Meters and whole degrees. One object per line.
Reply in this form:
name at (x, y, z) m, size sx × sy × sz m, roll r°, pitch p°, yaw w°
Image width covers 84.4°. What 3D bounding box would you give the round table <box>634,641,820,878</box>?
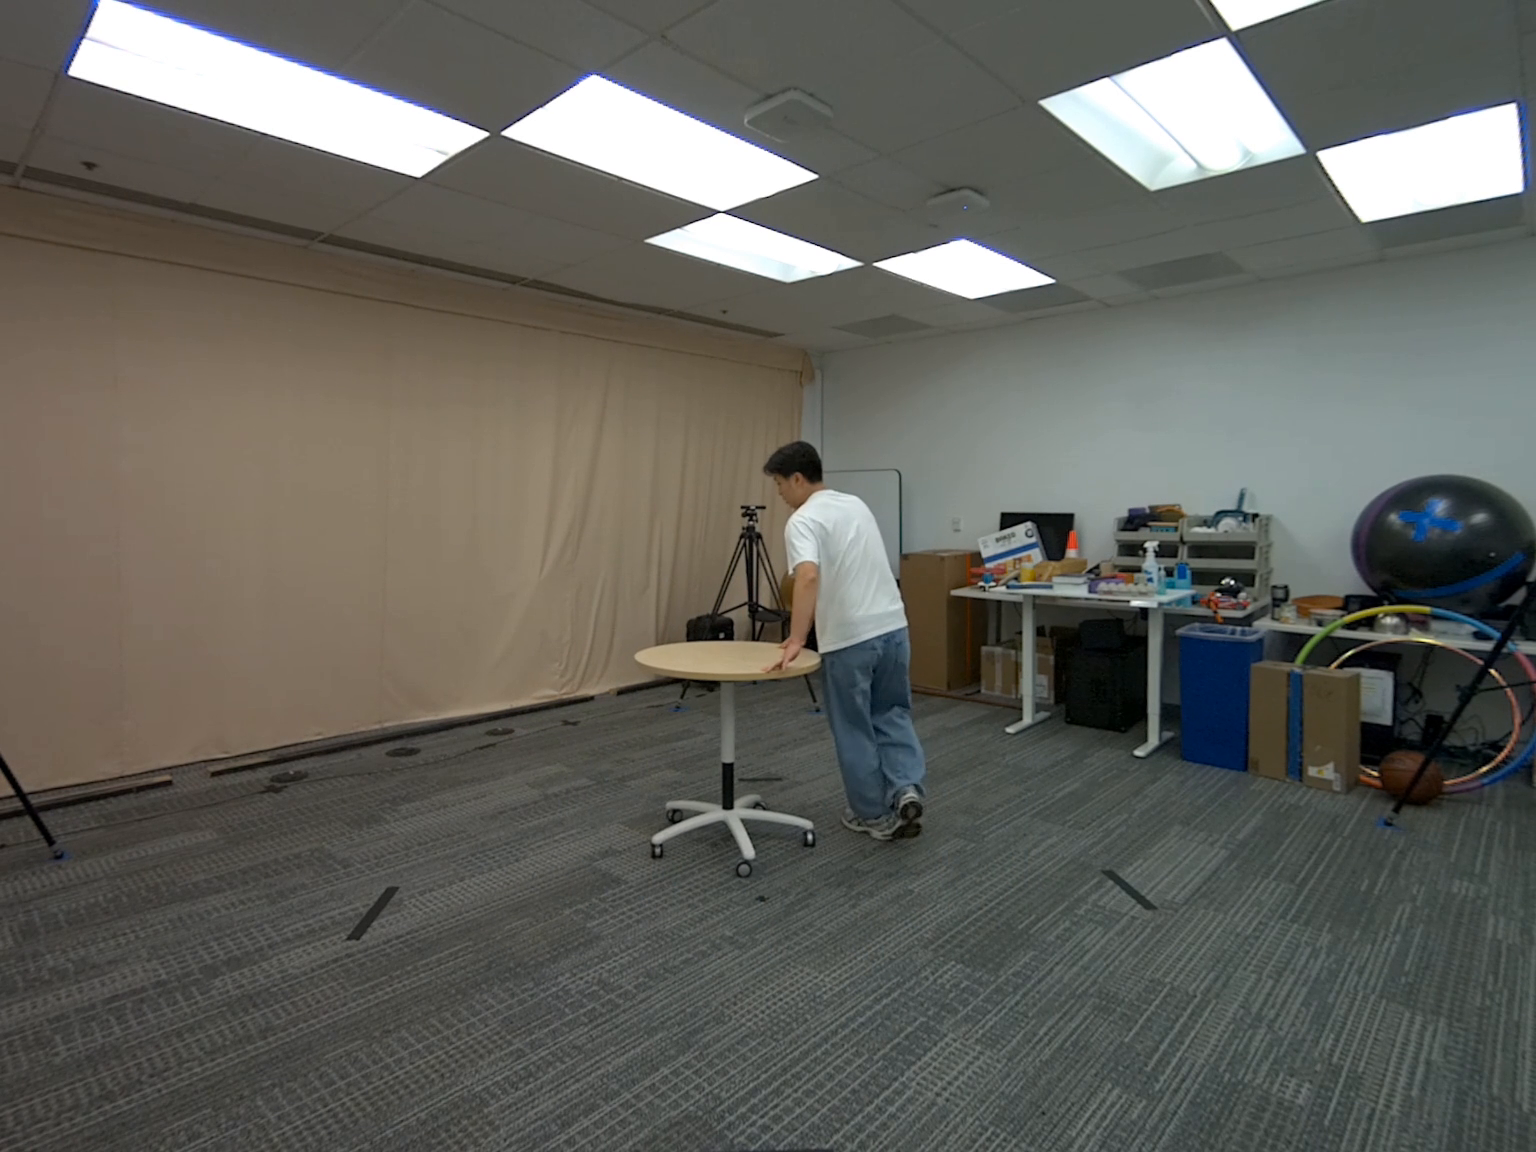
round table at (-0.163, 0.719, 3.479) m, size 0.763 × 0.792 × 0.766 m, roll 0°, pitch 3°, yaw -2°
